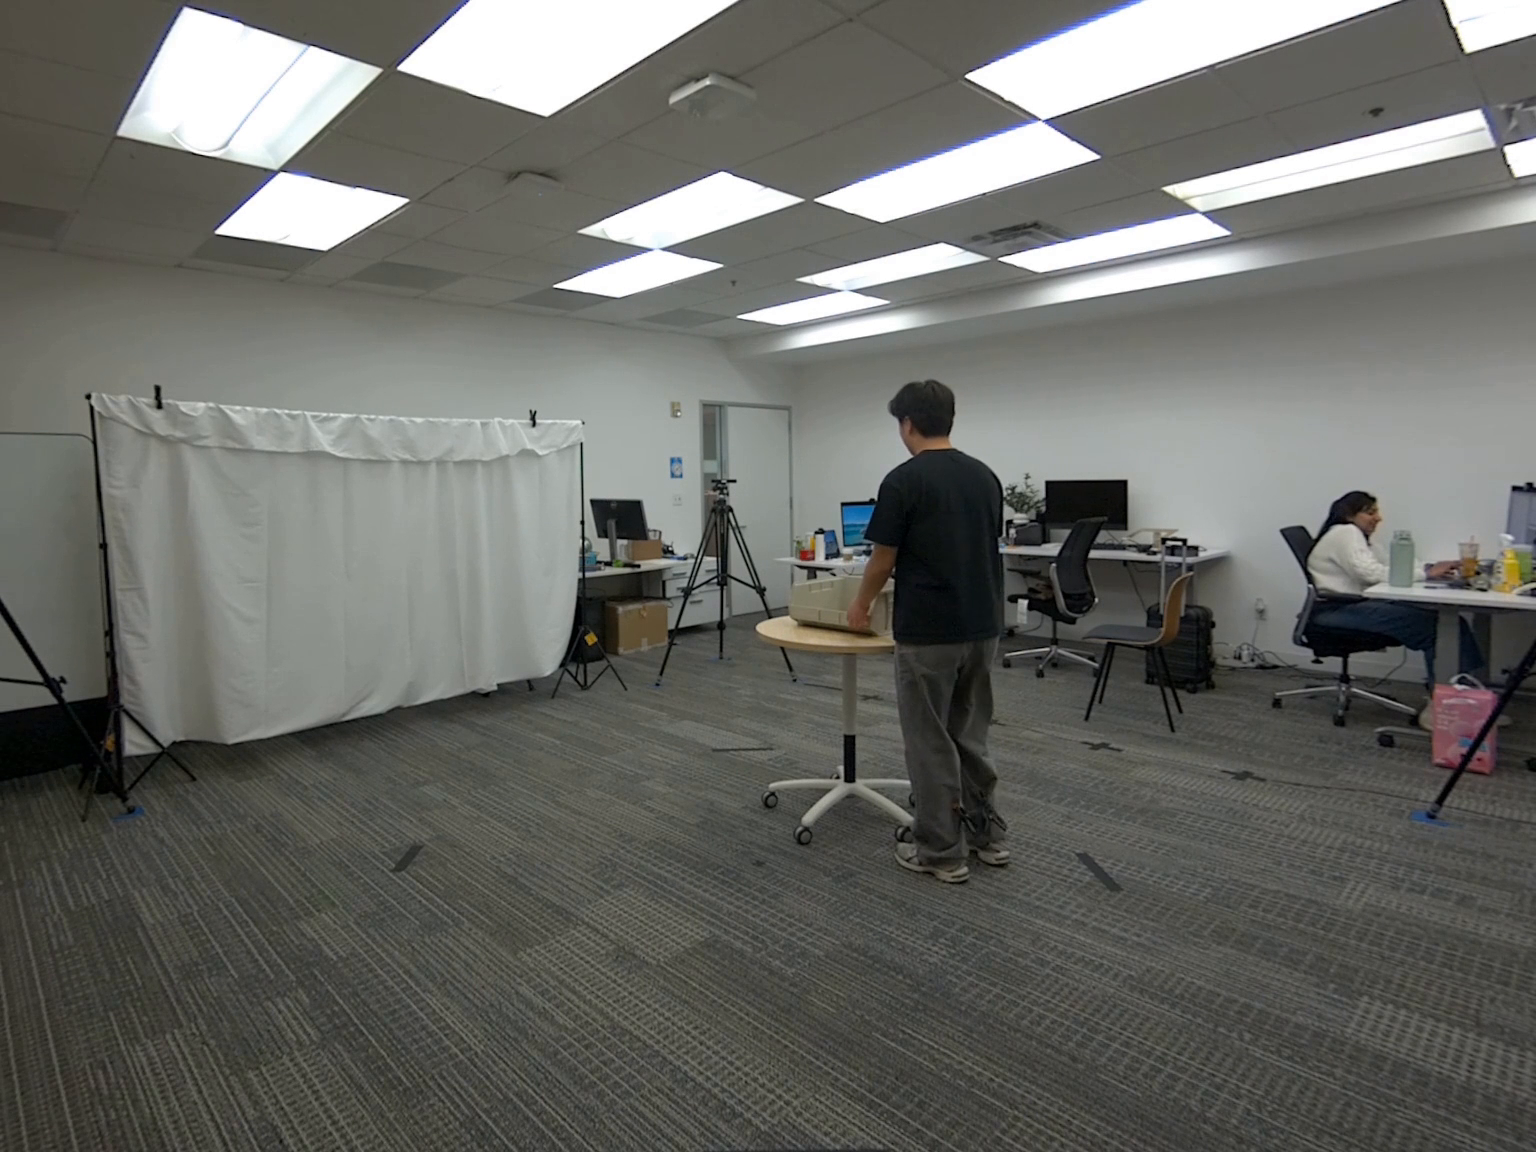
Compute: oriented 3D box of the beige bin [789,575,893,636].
[{"bbox_3d":[0.364,0.119,3.525,0.435,0.188,0.367,5,8,43],"label":"beige bin"}]
